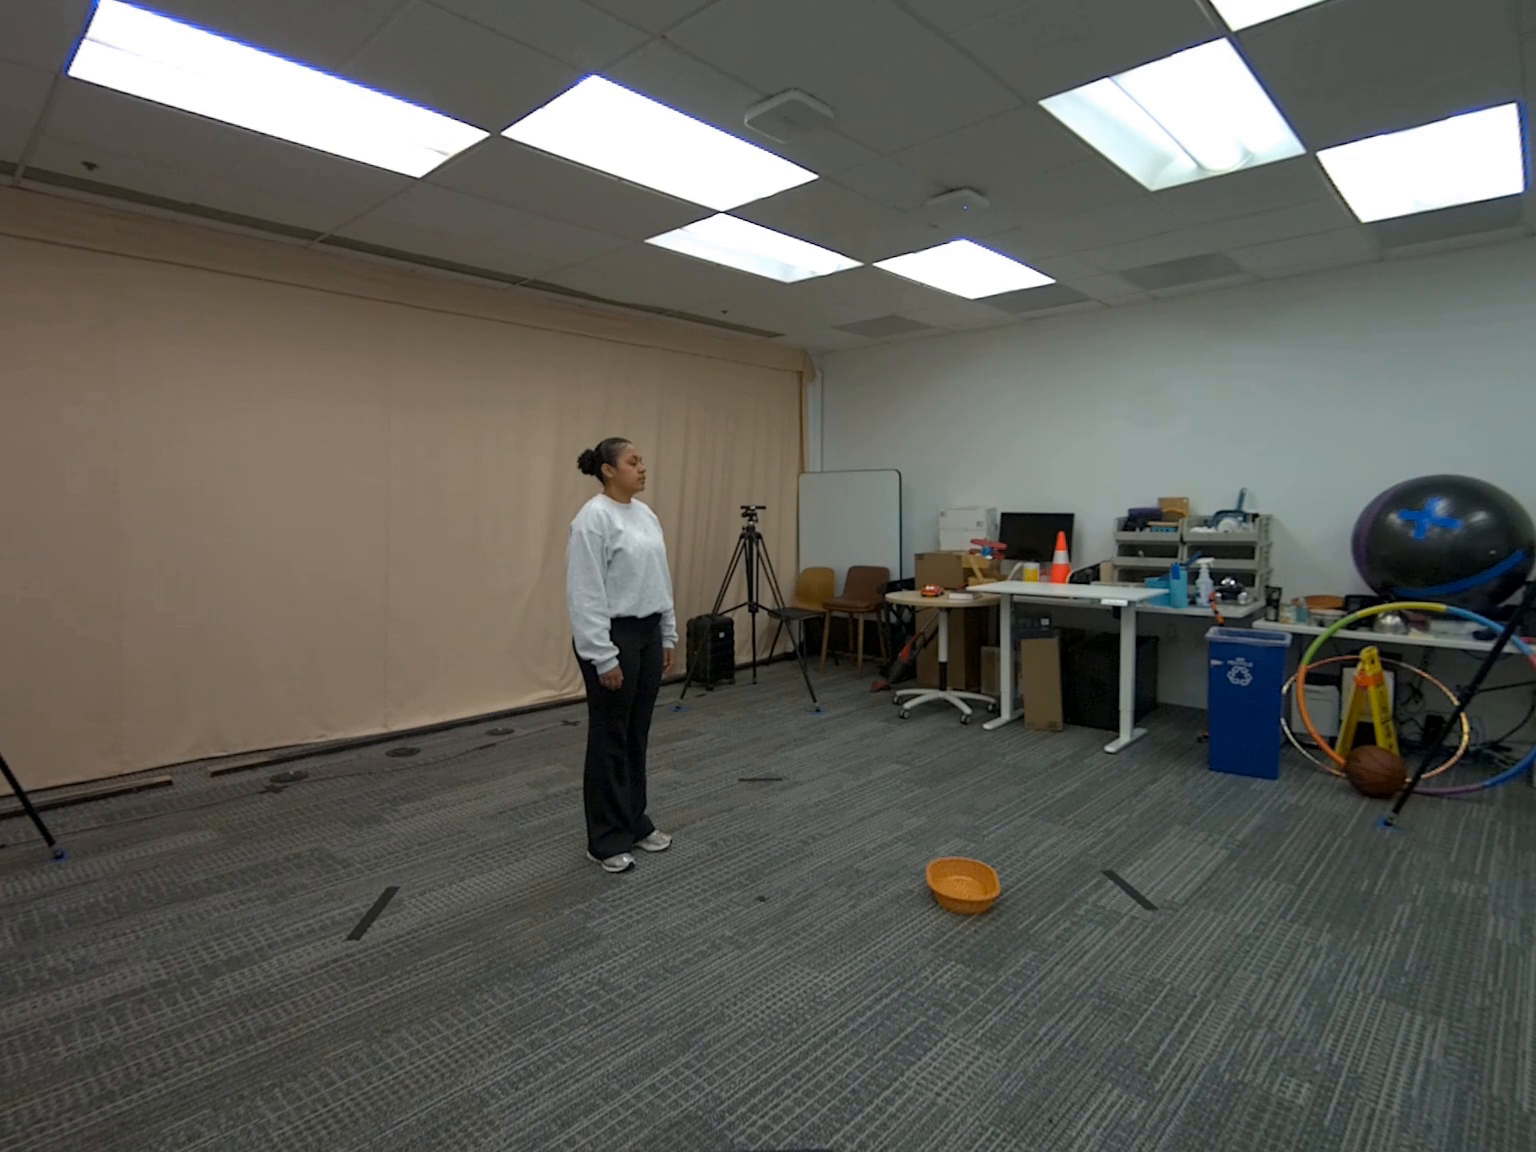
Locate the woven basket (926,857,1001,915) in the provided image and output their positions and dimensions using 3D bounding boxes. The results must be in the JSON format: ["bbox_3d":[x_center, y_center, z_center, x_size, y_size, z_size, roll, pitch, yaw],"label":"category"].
[{"bbox_3d":[0.695,1.101,2.994,0.256,0.073,0.346,1,5,13],"label":"woven basket"}]
